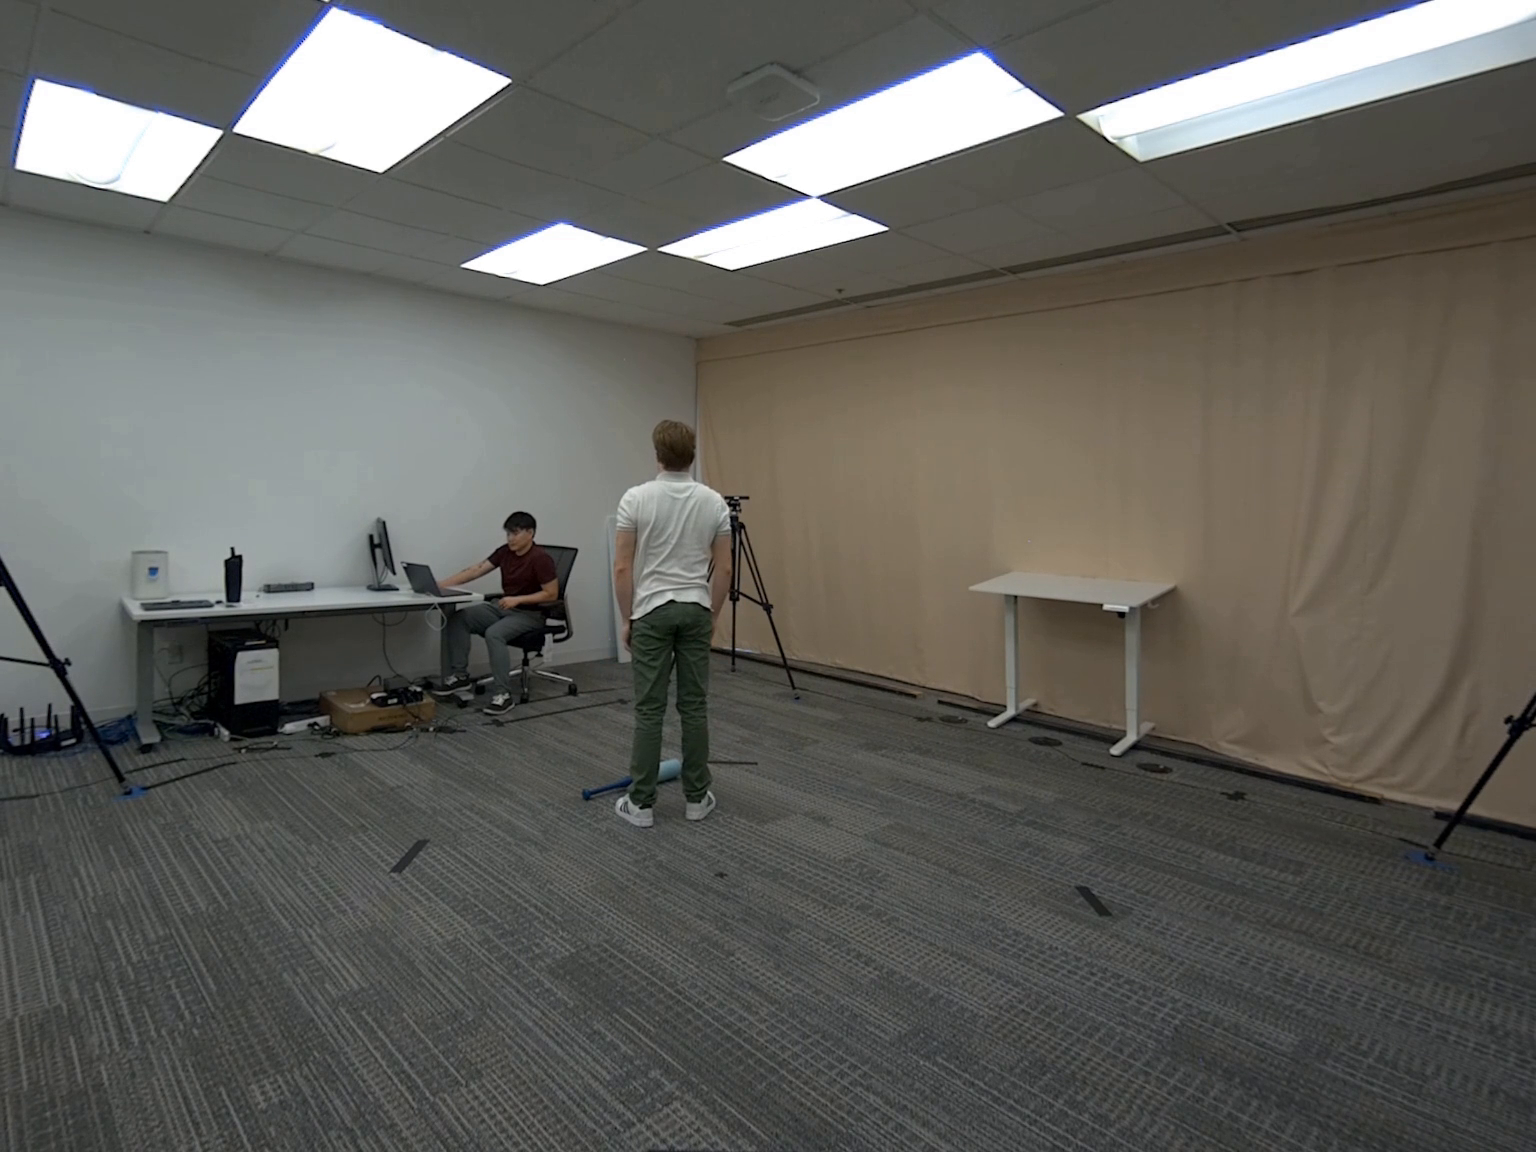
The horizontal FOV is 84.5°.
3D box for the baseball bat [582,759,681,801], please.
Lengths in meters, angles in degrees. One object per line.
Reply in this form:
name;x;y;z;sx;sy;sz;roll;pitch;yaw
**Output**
baseball bat;-0.653;0.978;4.020;0.531;0.089;0.091;-6;8;-40
